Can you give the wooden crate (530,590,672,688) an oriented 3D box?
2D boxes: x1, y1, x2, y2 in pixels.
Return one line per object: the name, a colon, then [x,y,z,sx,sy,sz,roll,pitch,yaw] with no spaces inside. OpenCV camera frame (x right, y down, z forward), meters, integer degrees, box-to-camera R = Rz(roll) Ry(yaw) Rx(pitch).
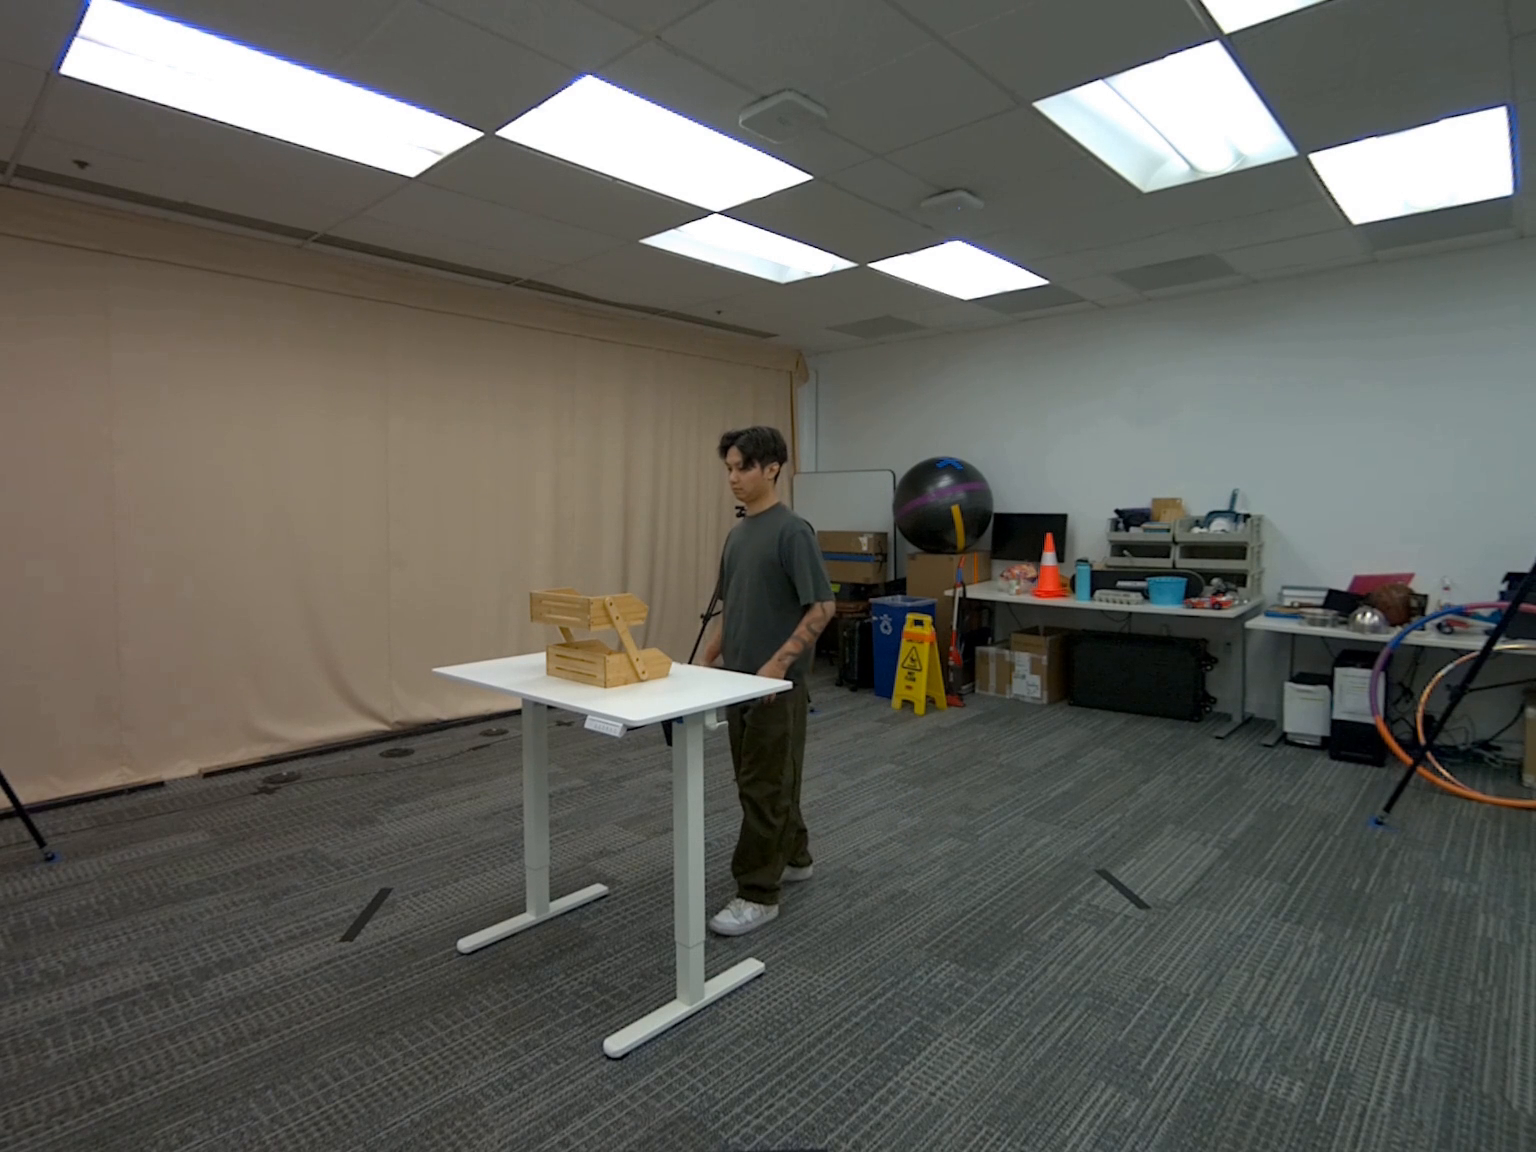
wooden crate: [-0.498,0.170,2.525,0.335,0.273,0.293,2,5,43]
